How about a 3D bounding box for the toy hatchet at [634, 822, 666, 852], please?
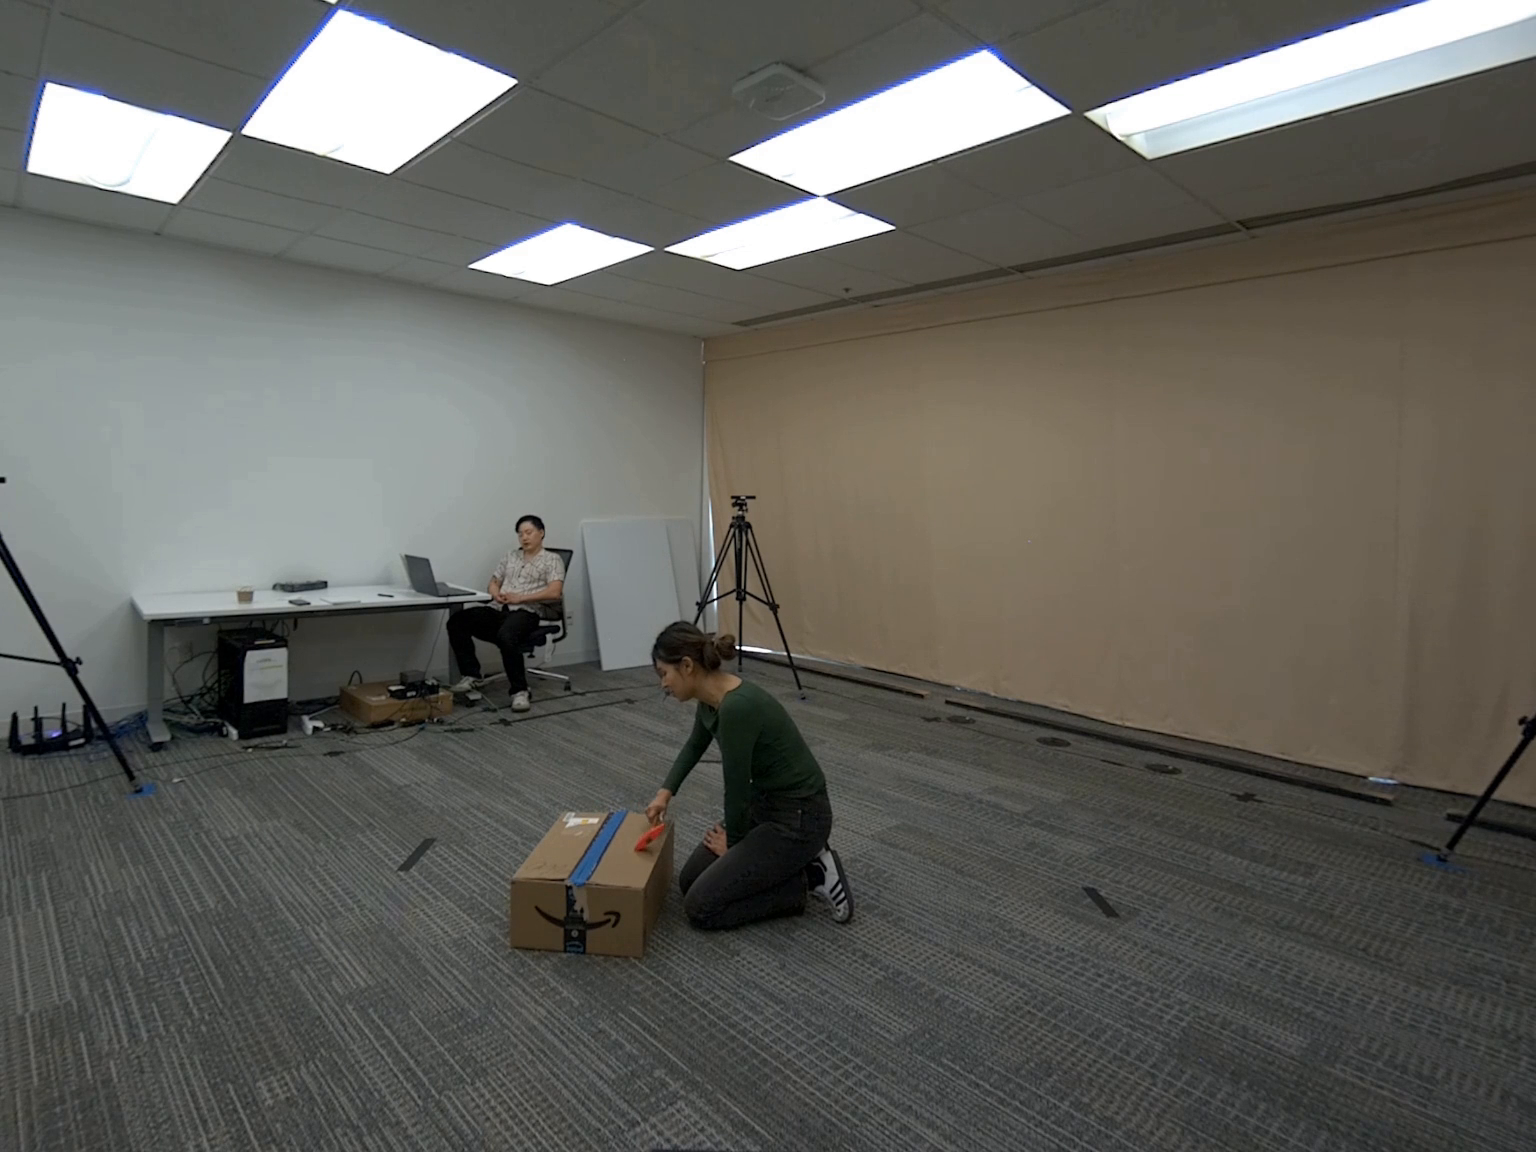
[{"bbox_3d":[-0.417,0.862,2.873,0.029,0.131,0.270,39,-11,-1],"label":"toy hatchet"}]
